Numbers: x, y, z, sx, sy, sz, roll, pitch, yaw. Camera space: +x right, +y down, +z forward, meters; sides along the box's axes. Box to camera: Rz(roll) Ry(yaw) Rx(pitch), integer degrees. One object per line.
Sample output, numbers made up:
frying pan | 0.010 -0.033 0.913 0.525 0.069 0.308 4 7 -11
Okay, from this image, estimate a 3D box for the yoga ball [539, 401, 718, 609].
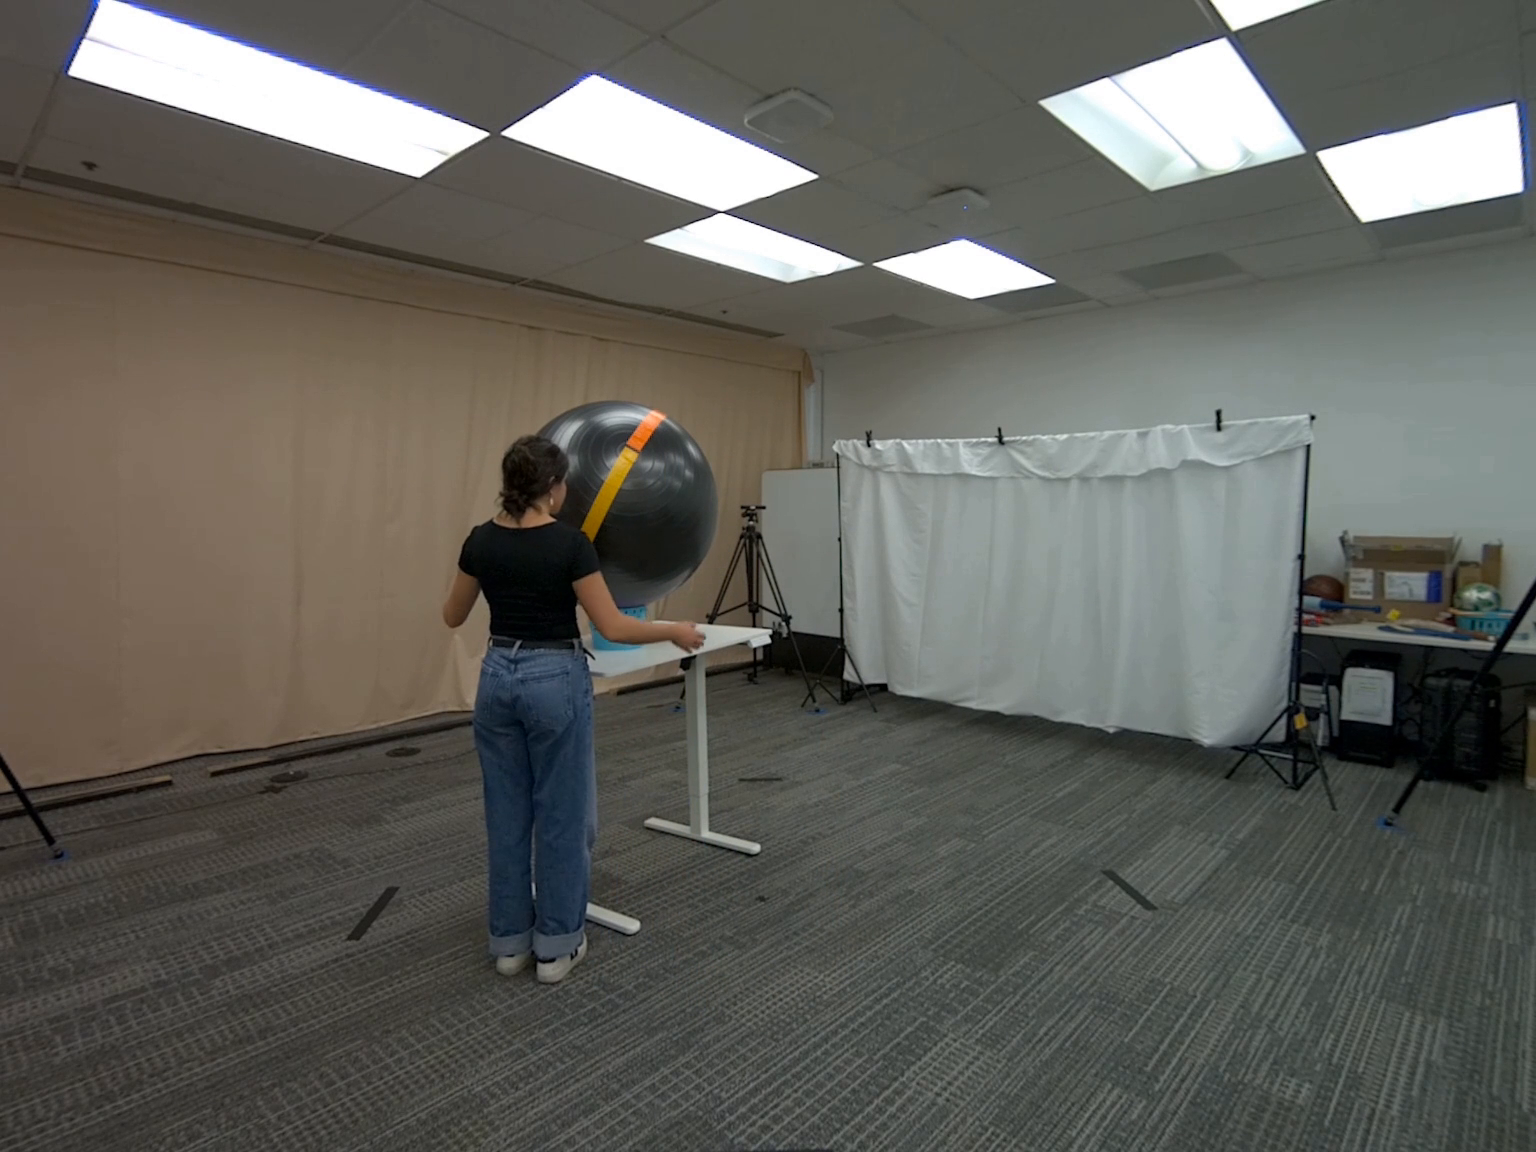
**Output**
yoga ball | -0.564 -0.251 3.064 0.757 0.756 0.760 0 4 -2
